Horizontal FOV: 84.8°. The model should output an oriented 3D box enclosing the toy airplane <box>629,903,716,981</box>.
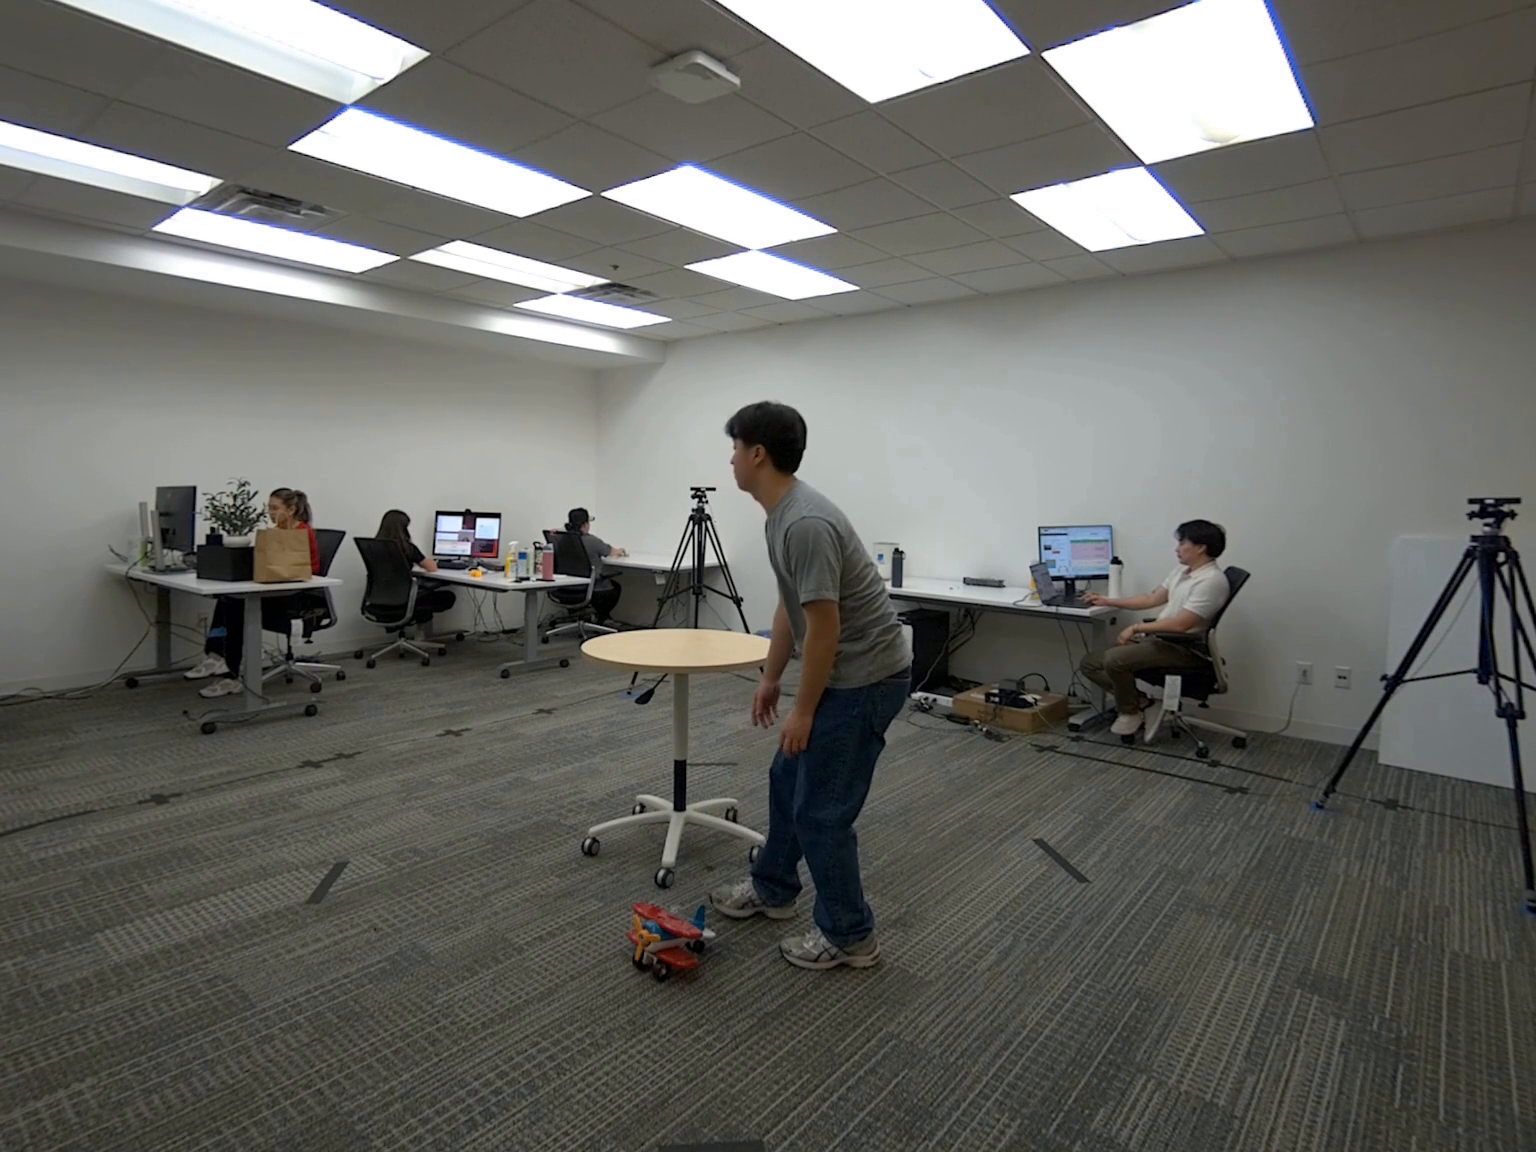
[{"bbox_3d":[-0.303,1.049,2.498,0.255,0.156,0.256,3,6,13],"label":"toy airplane"}]
